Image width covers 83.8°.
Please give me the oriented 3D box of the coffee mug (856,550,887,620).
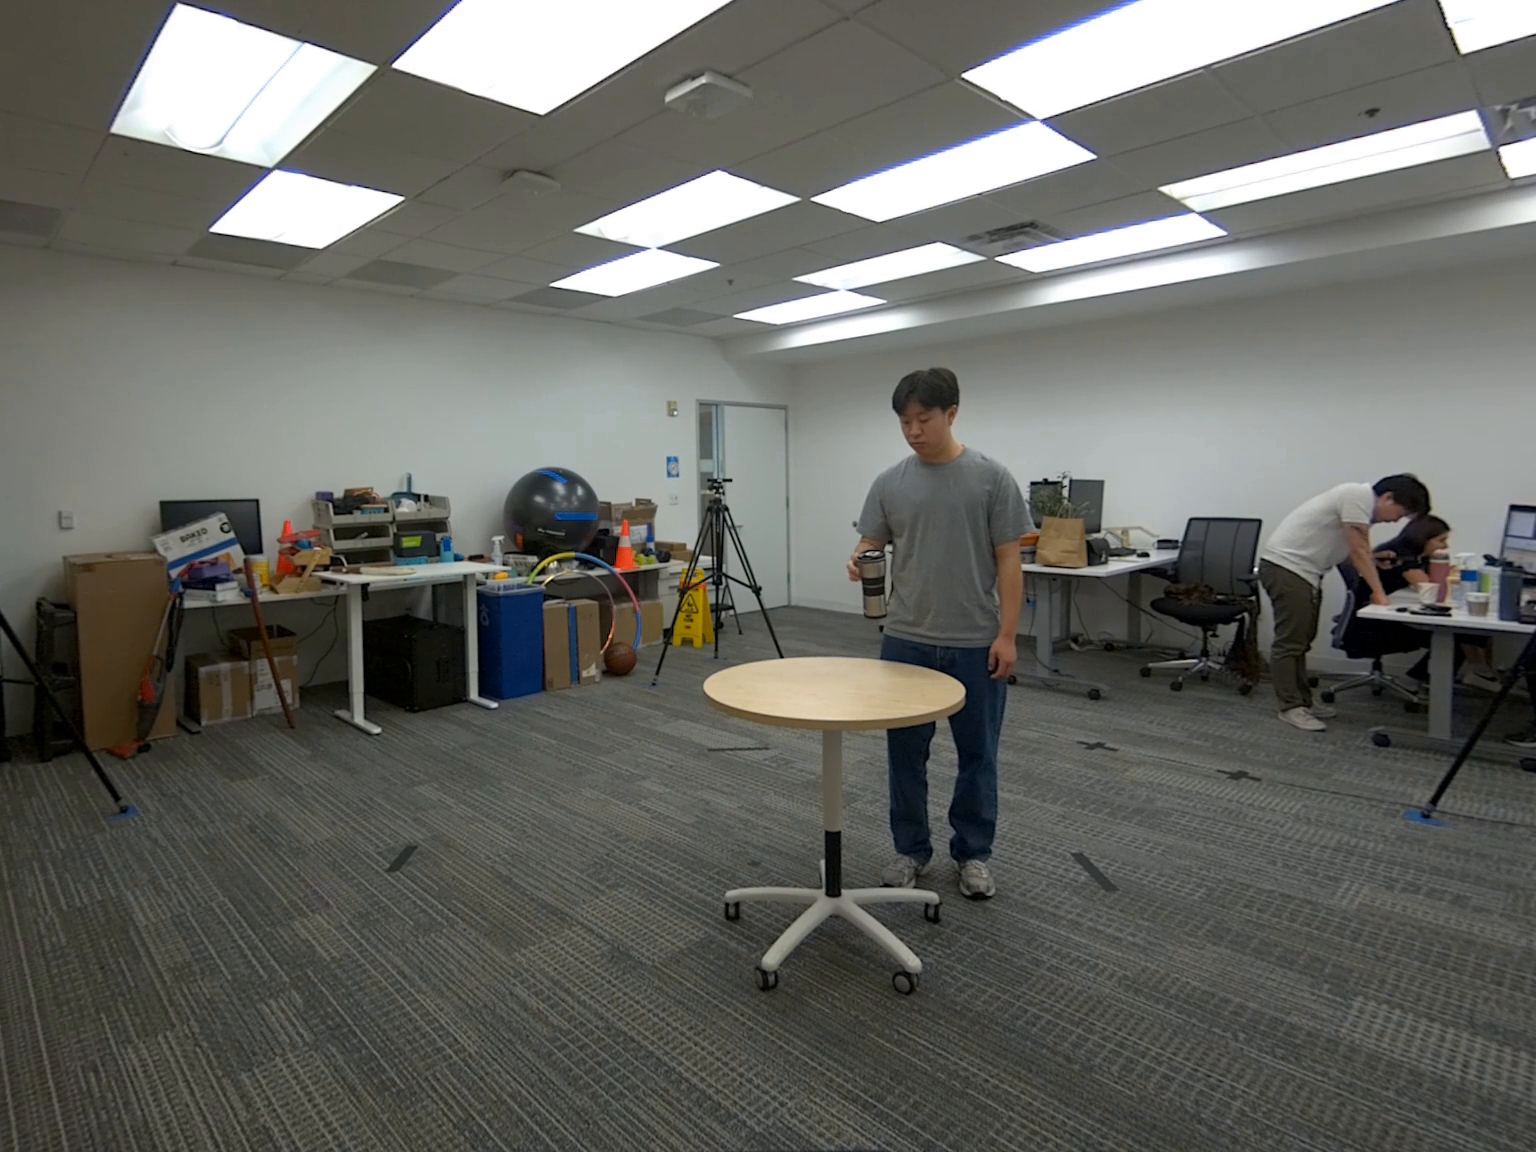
[{"bbox_3d":[0.341,0.028,2.634,0.119,0.201,0.090,-13,10,-33],"label":"coffee mug"}]
